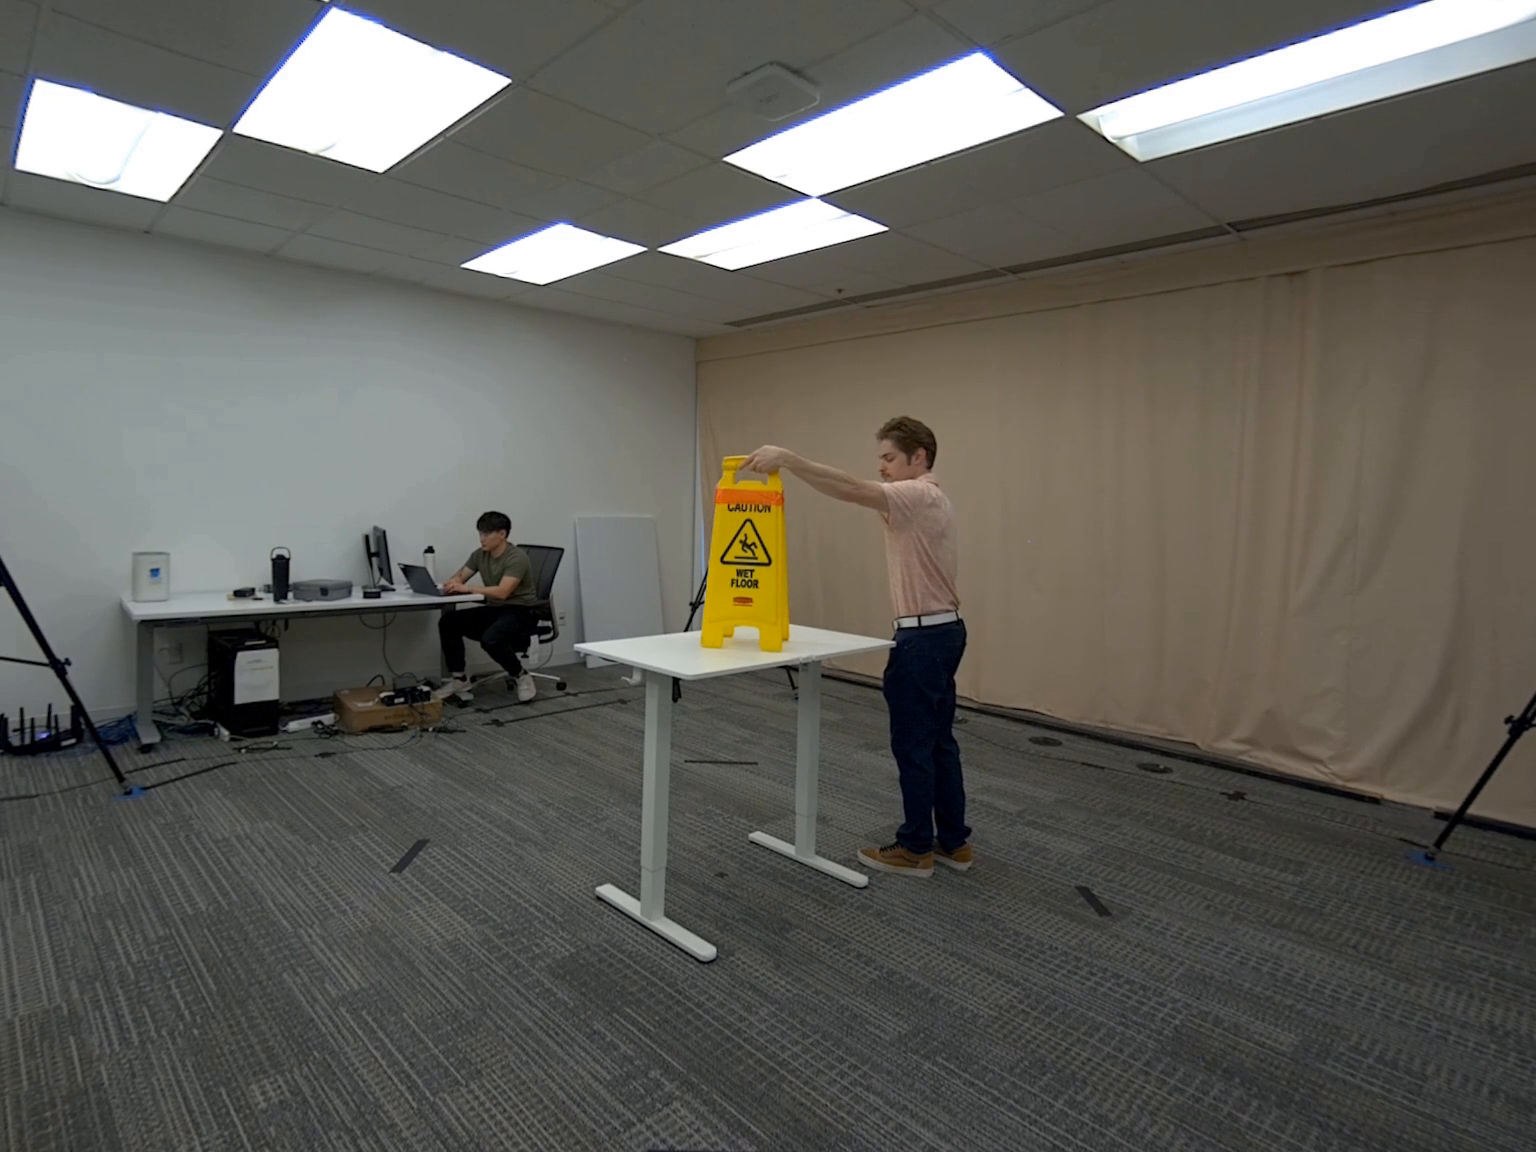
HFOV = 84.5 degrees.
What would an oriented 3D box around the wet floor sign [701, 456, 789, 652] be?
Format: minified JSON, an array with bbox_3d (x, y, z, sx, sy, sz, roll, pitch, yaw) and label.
[{"bbox_3d":[-0.070,-0.087,2.925,0.284,0.645,0.288,1,2,7],"label":"wet floor sign"}]
